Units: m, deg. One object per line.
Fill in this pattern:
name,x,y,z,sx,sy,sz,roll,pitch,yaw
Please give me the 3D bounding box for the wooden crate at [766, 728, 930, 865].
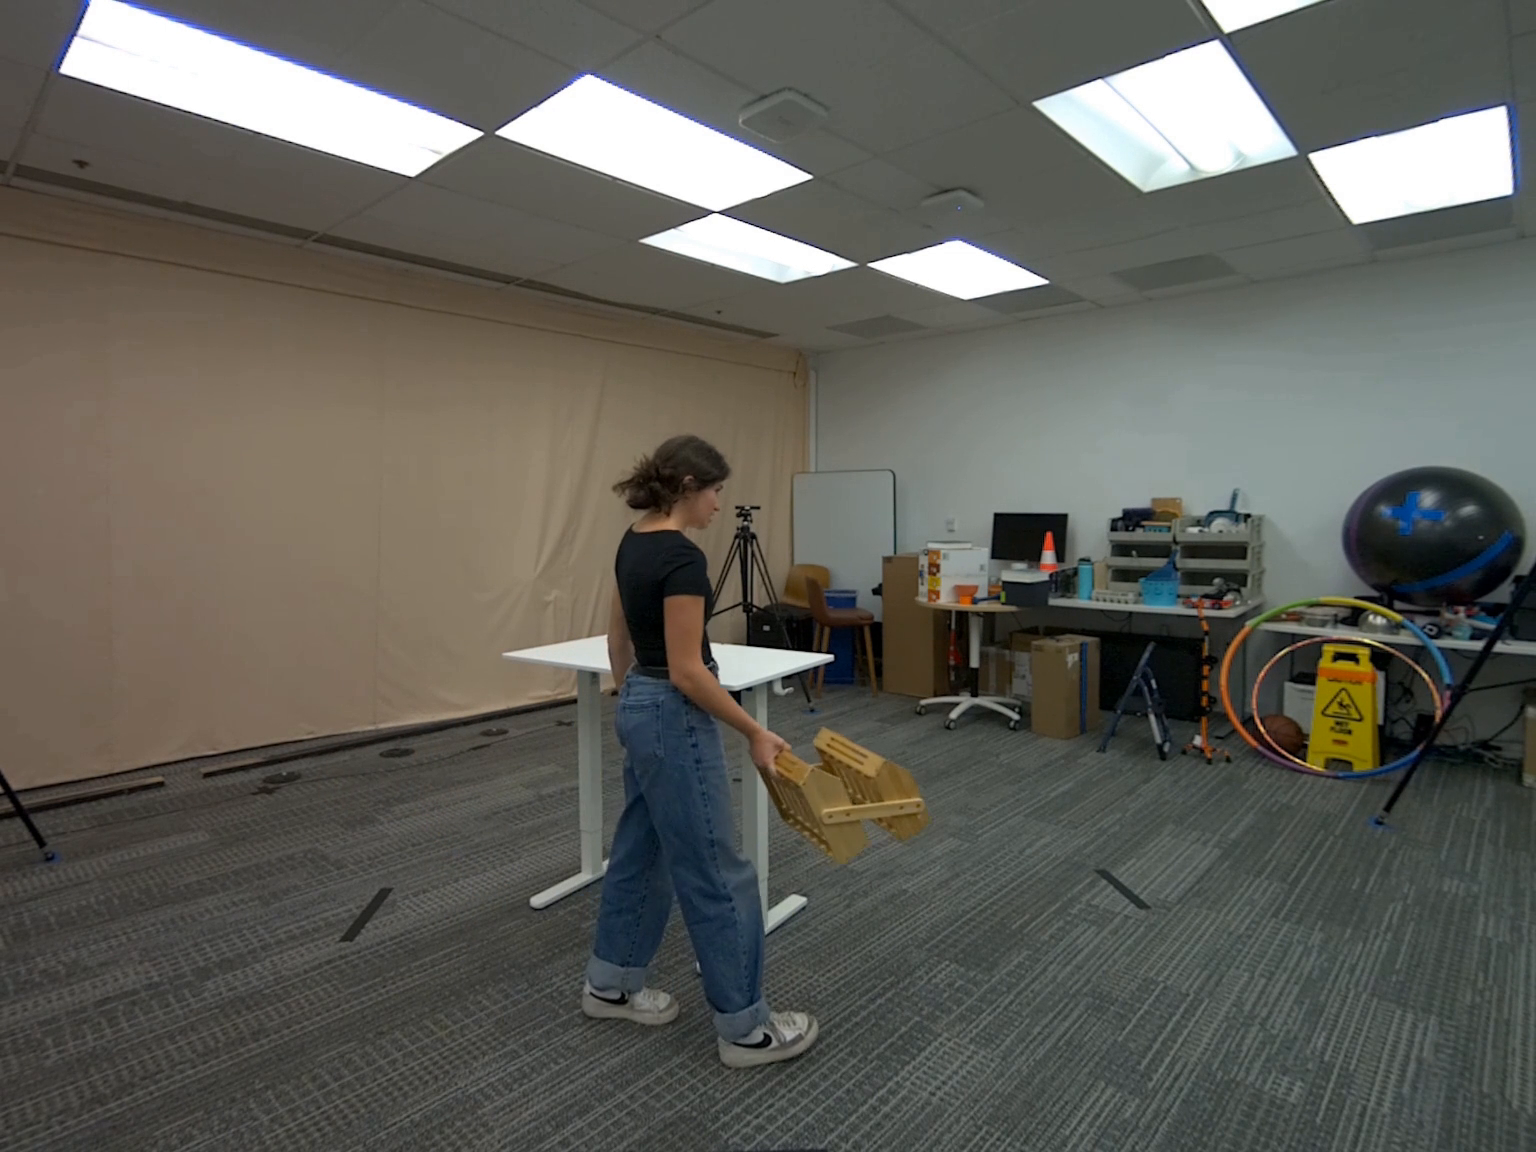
wooden crate,0.184,0.512,2.078,0.270,0.298,0.333,-30,15,-19
